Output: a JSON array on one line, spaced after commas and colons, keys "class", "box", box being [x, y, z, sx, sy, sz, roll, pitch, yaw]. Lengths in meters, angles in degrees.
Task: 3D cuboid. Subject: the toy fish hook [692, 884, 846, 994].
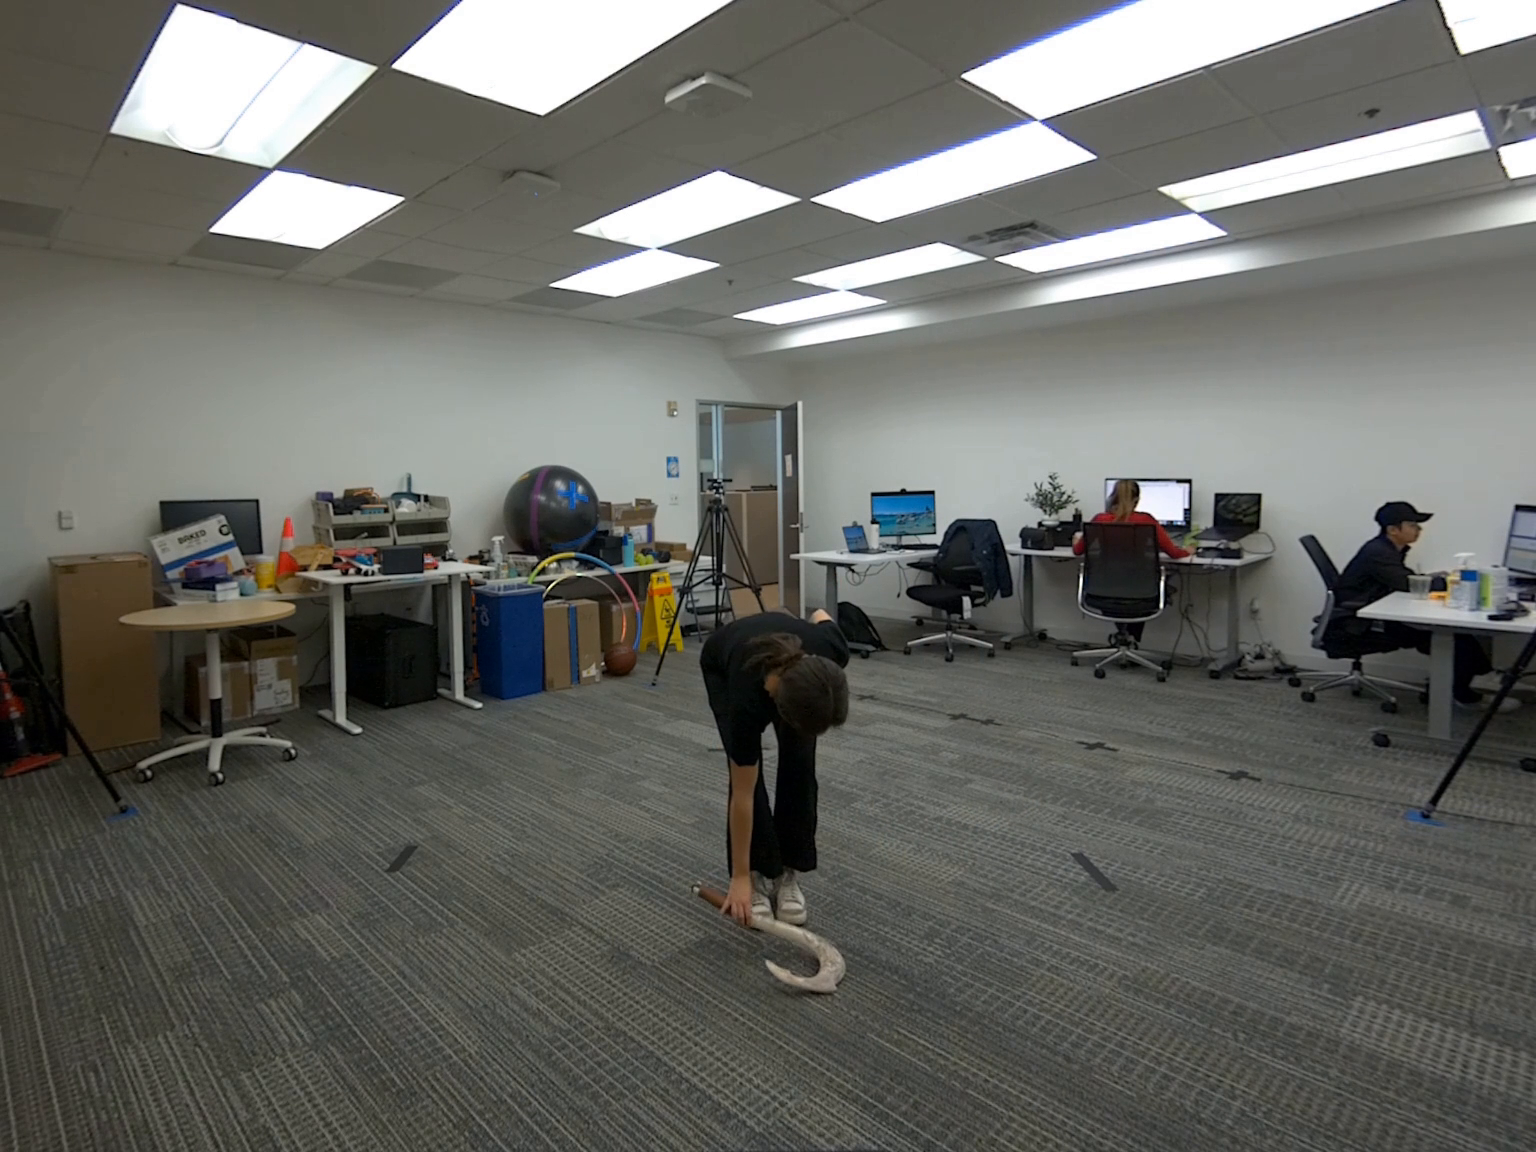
[{"class": "toy fish hook", "box": [-0.025, 1.035, 2.464, 0.521, 0.048, 0.220, 18, 13, 24]}]
